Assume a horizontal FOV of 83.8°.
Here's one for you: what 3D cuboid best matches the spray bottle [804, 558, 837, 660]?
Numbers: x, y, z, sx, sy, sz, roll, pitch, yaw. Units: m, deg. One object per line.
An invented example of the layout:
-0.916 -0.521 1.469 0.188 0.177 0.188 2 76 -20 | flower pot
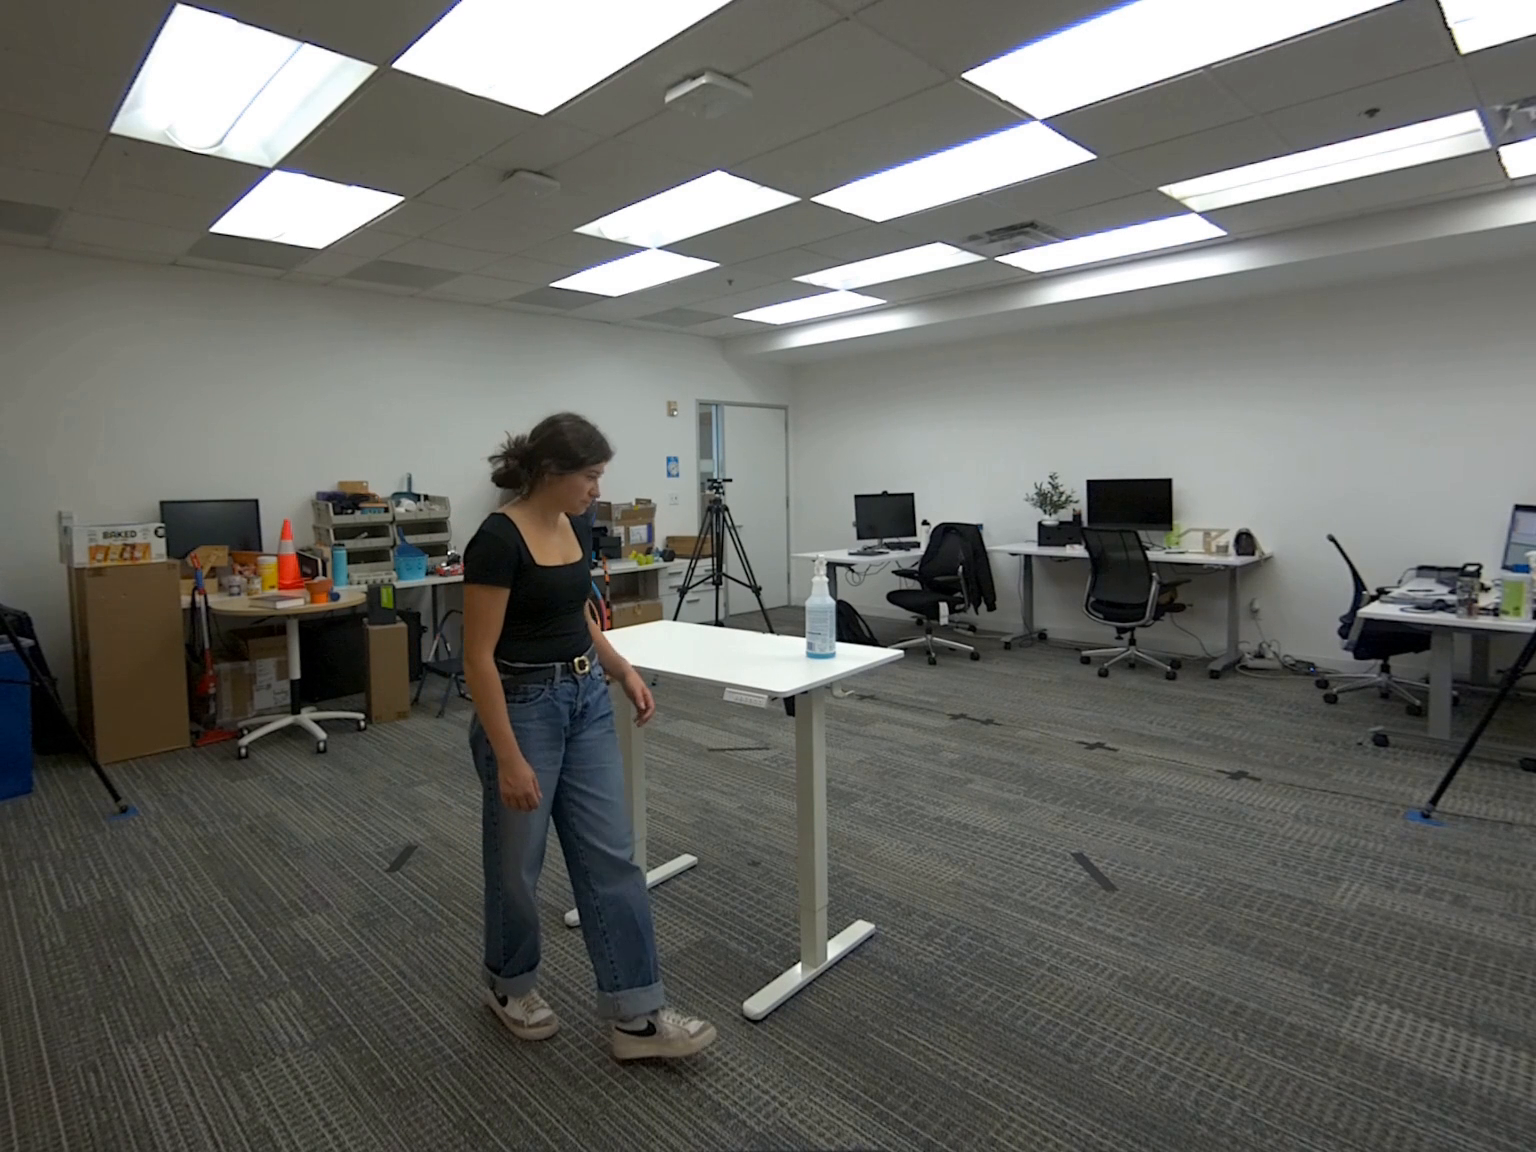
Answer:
0.162 0.091 2.451 0.089 0.296 0.088 4 6 22 | spray bottle
